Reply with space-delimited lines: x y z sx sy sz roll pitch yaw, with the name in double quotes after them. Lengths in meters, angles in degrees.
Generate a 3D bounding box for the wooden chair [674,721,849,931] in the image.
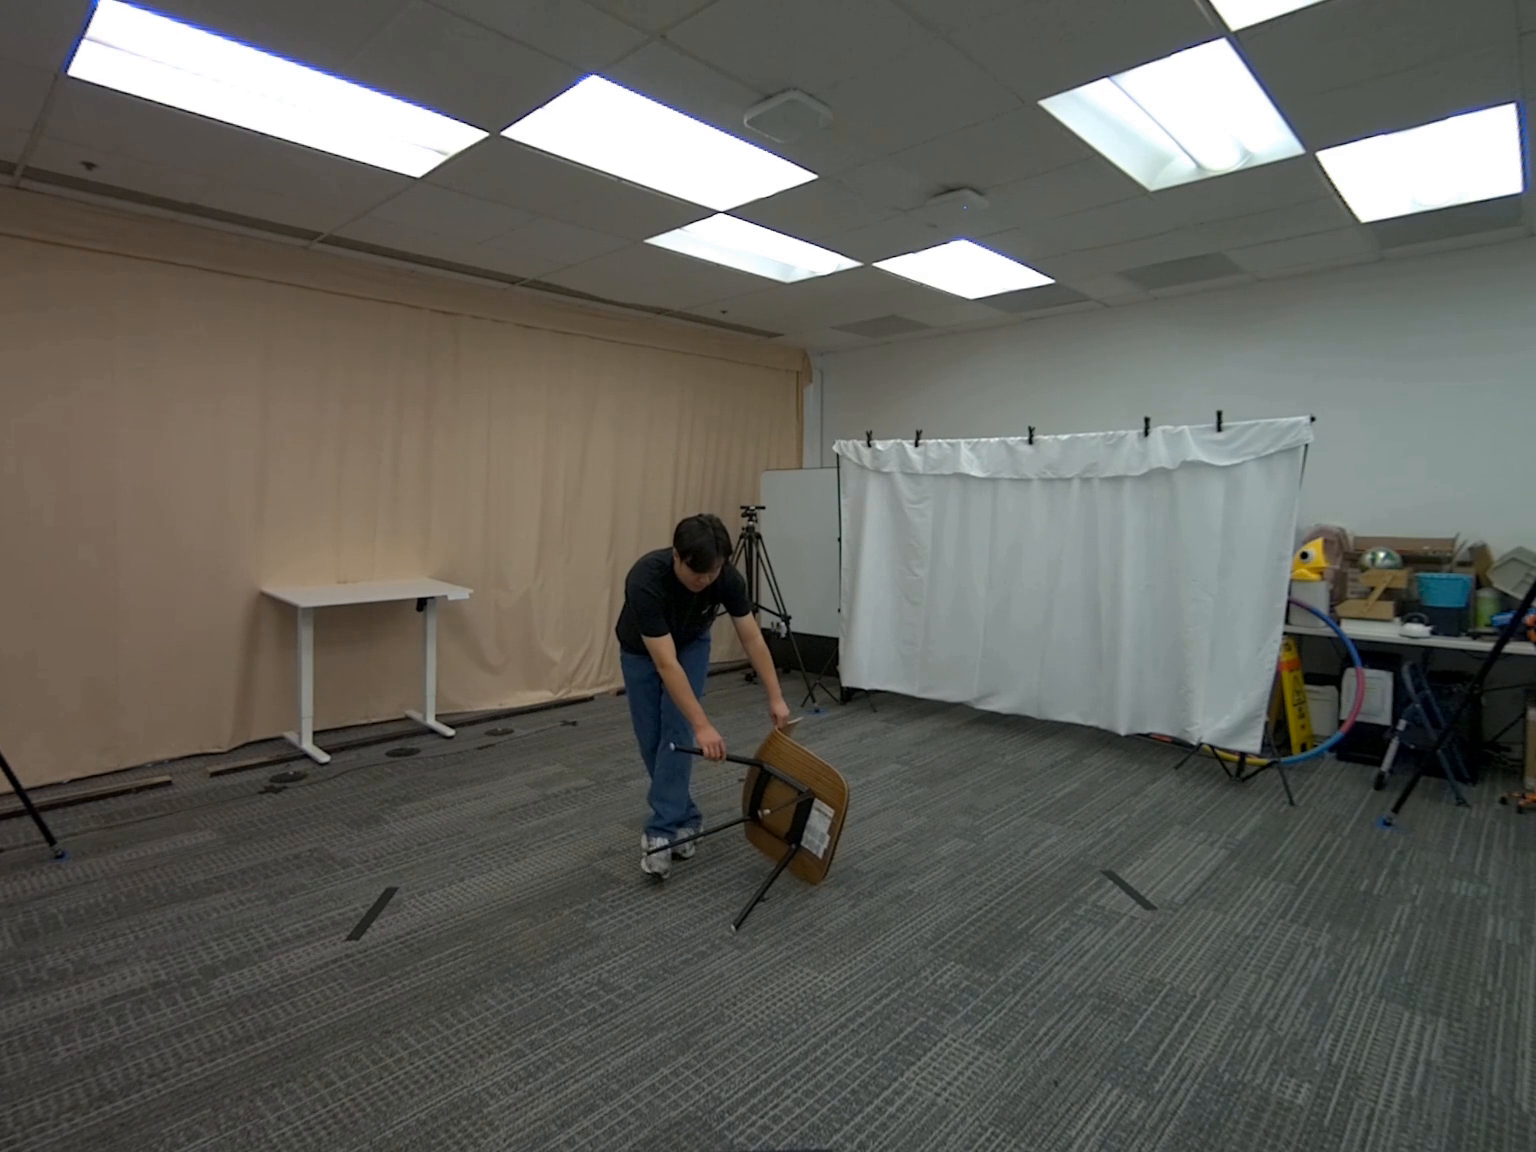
0.044 0.868 3.147 0.541 0.476 0.852 22 15 31 "wooden chair"
